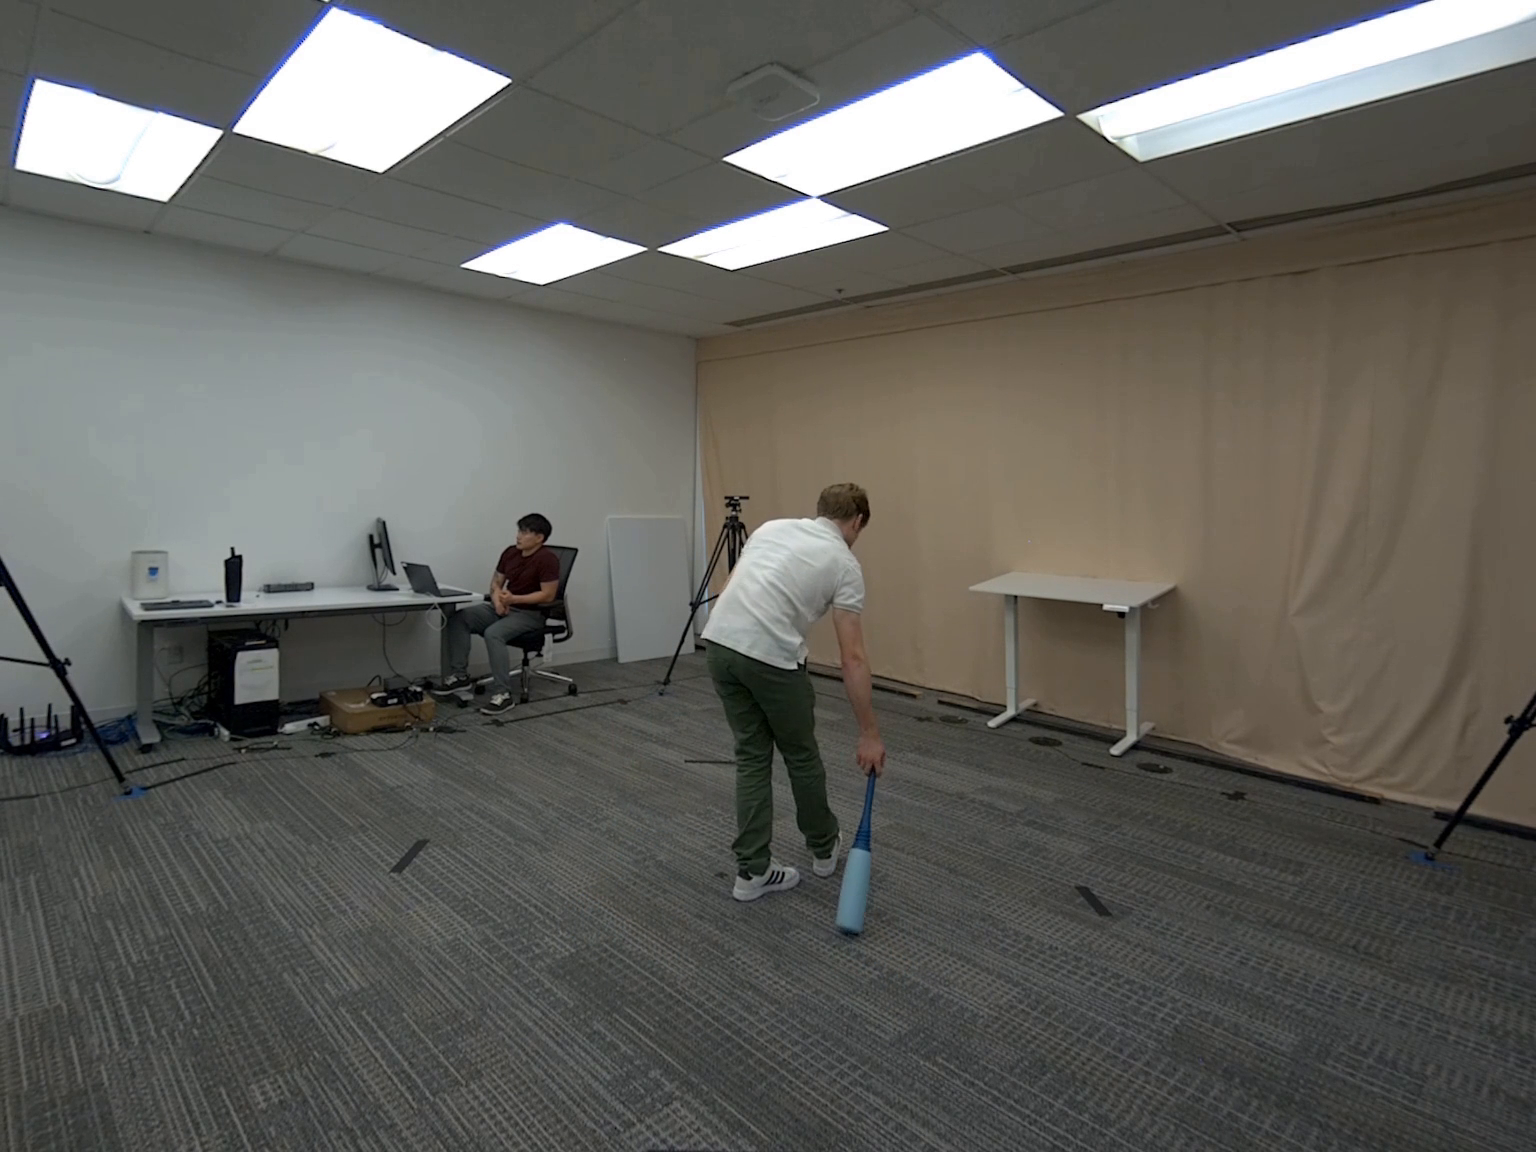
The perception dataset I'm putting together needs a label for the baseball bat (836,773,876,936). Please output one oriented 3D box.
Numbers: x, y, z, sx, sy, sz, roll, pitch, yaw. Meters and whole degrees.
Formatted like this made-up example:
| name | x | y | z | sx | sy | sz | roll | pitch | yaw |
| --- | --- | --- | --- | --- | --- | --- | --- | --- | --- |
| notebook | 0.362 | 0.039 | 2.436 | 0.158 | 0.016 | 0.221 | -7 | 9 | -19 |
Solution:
| name | x | y | z | sx | sy | sz | roll | pitch | yaw |
| --- | --- | --- | --- | --- | --- | --- | --- | --- | --- |
| baseball bat | 0.308 | 0.905 | 2.806 | 0.089 | 0.550 | 0.087 | 12 | -28 | 5 |
